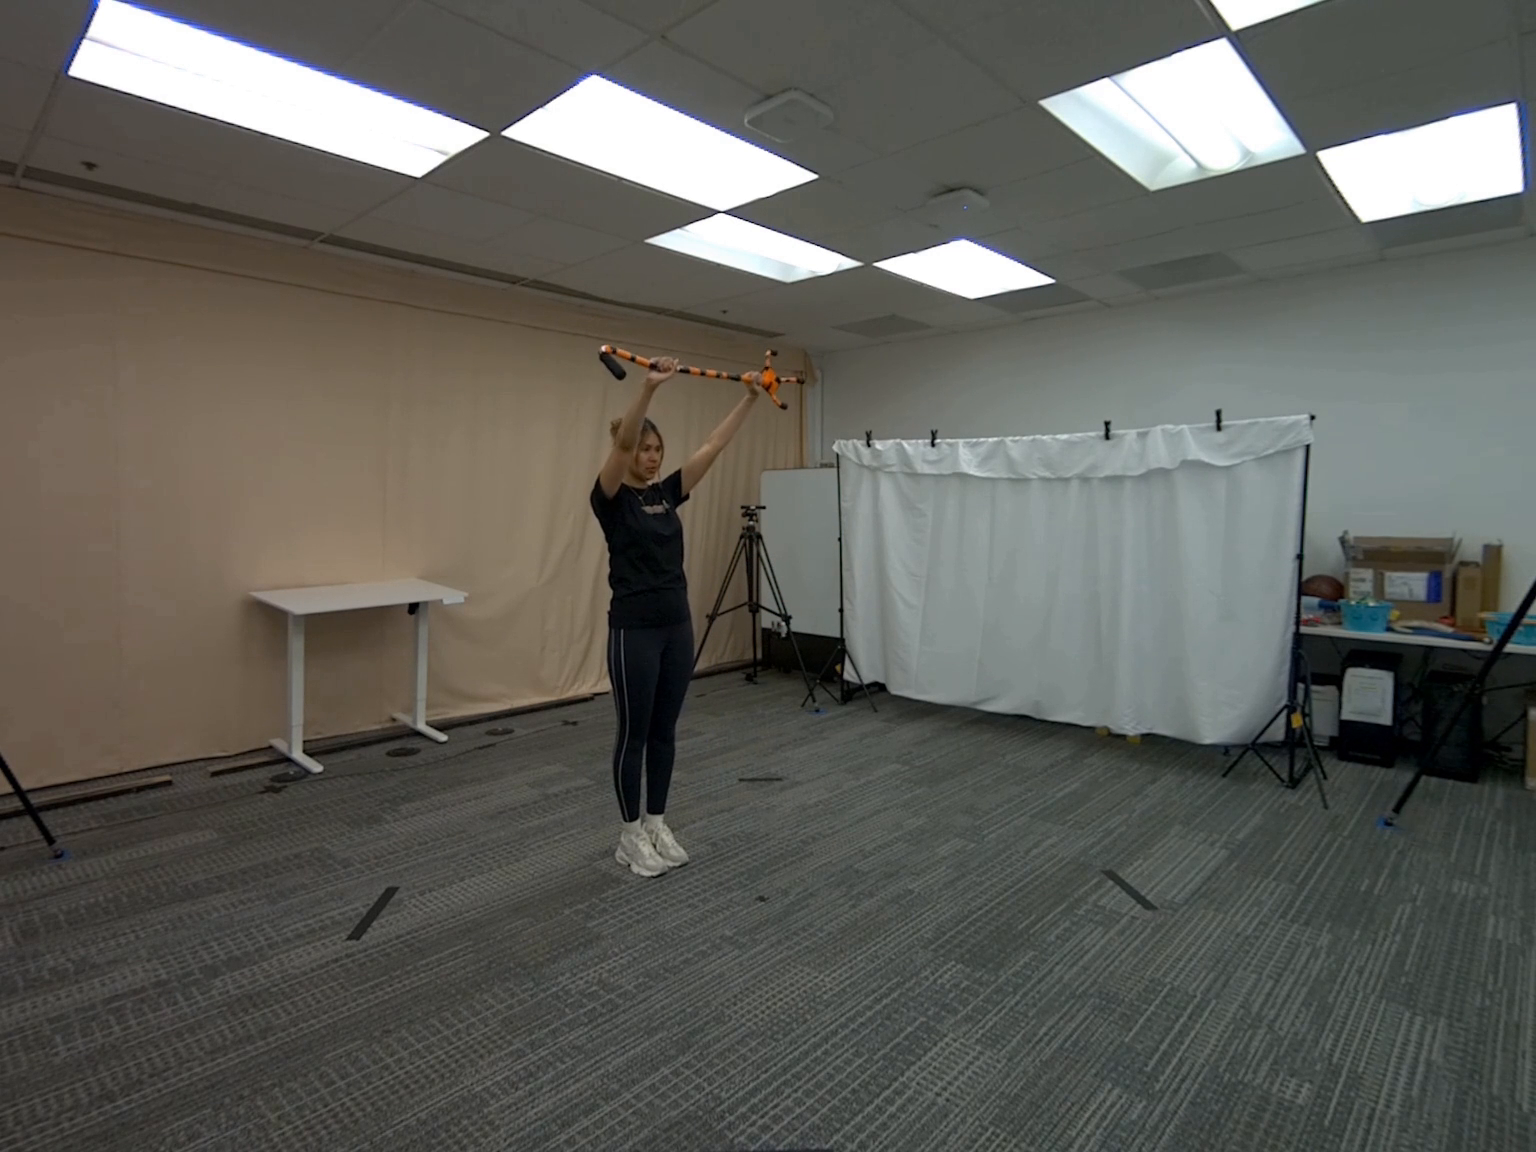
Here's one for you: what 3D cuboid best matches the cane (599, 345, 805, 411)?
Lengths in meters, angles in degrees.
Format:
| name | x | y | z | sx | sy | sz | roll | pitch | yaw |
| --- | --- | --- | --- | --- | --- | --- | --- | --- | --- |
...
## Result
| name | x | y | z | sx | sy | sz | roll | pitch | yaw |
| --- | --- | --- | --- | --- | --- | --- | --- | --- | --- |
| cane | -0.229 | -0.723 | 2.928 | 0.881 | 0.152 | 0.212 | -8 | 50 | -51 |
